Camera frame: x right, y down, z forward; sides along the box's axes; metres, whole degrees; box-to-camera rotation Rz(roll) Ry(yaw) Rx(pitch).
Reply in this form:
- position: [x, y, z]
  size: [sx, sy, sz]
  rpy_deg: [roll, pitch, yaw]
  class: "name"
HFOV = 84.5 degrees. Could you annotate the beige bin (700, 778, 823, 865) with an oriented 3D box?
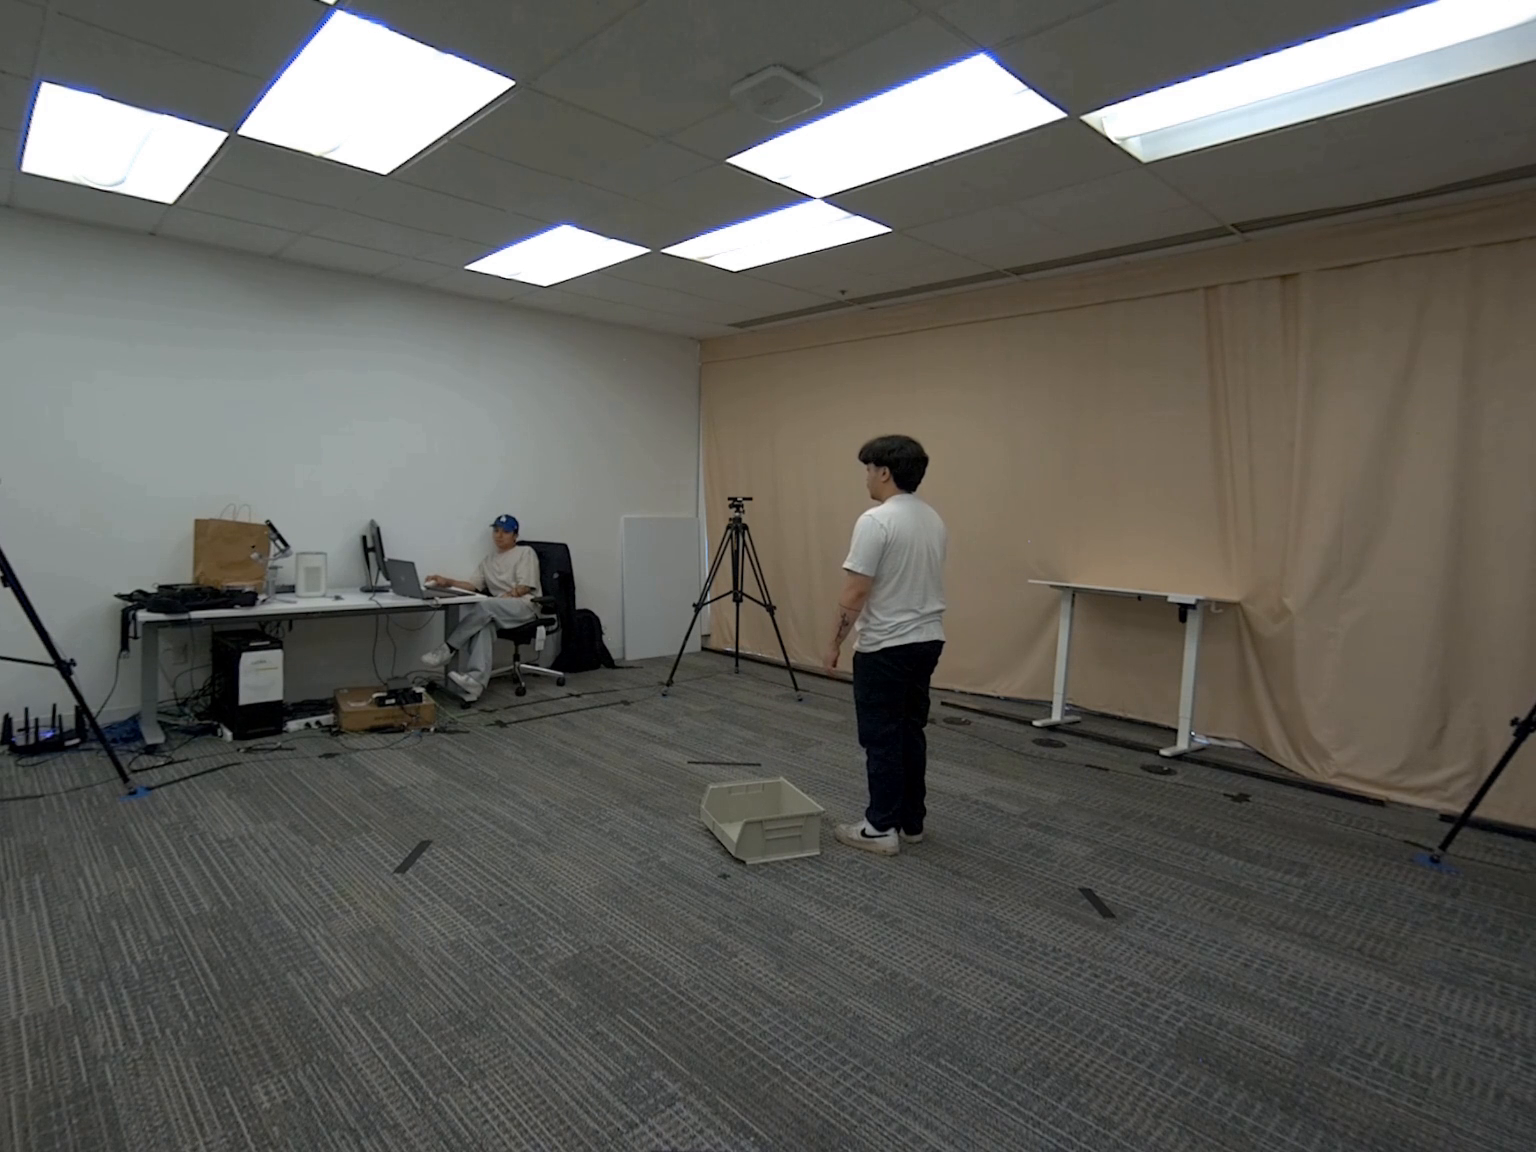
- position: [-0.039, 0.991, 3.440]
  size: [0.371, 0.188, 0.430]
  rpy_deg: [0, 4, -22]
  class: "beige bin"
